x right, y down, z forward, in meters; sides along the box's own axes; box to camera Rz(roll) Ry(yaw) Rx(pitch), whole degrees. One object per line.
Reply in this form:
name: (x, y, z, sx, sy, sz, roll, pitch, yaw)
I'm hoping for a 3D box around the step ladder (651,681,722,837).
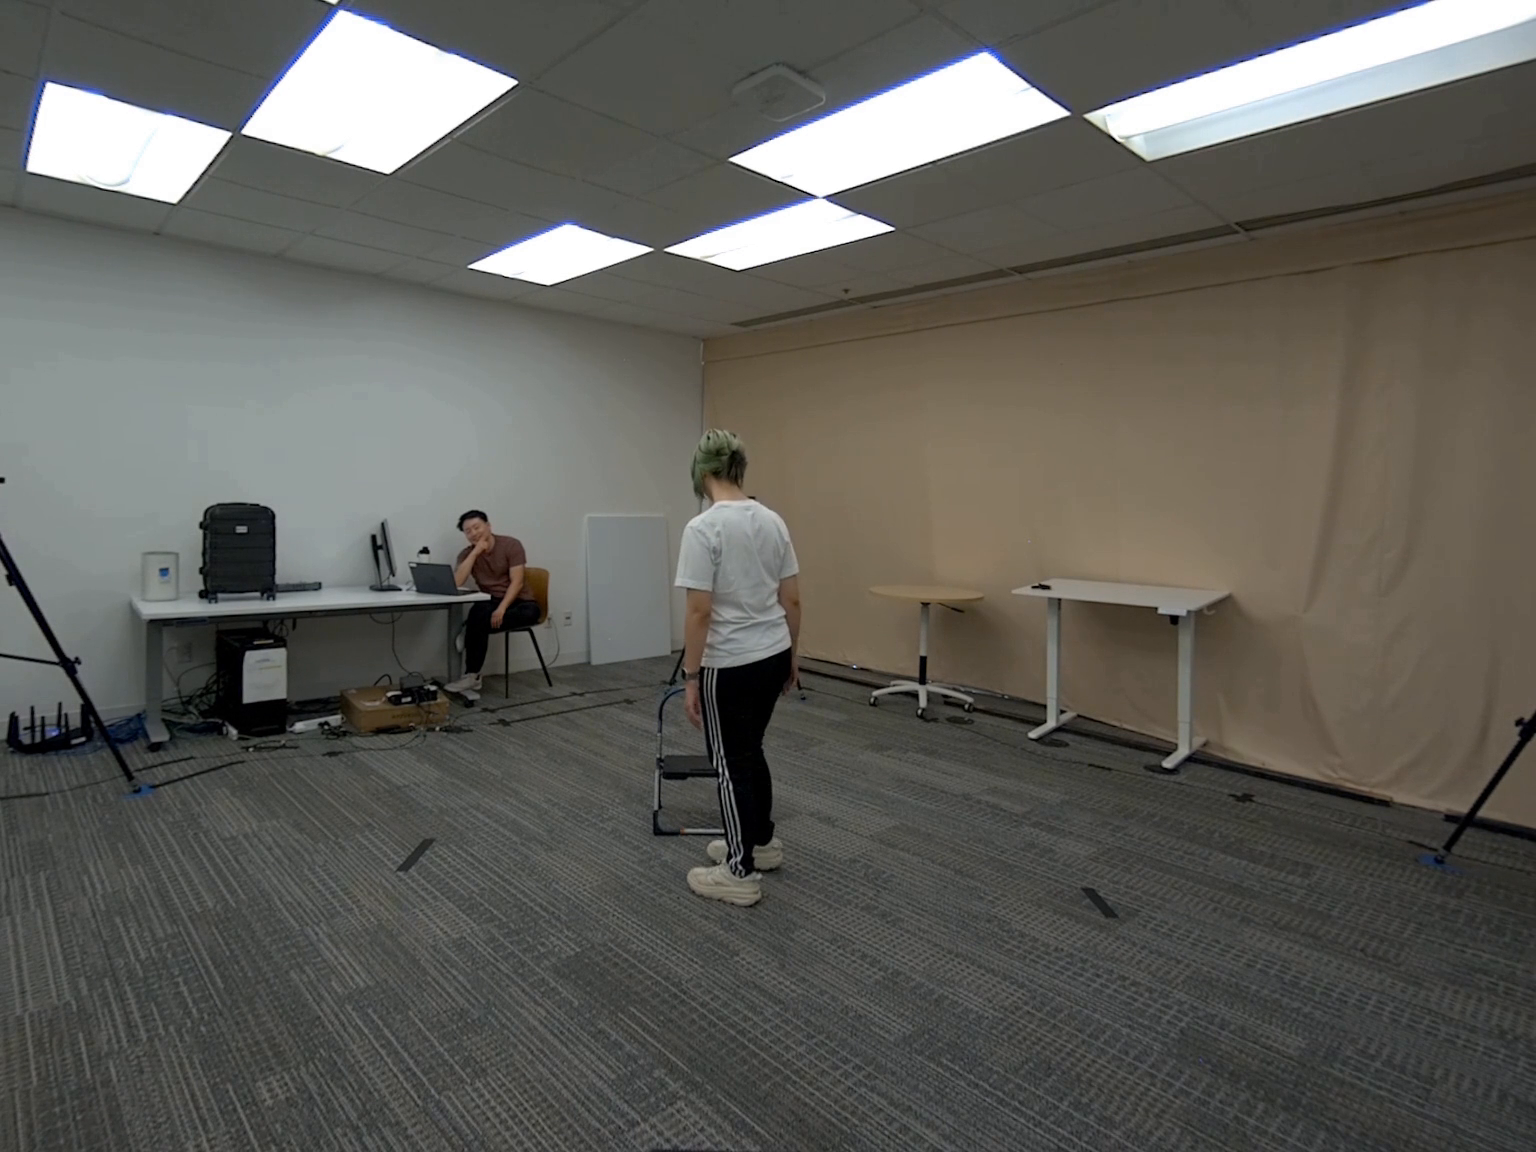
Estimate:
step ladder: (-0.282, 0.757, 3.613, 0.429, 0.604, 0.351, 1, 3, -5)
